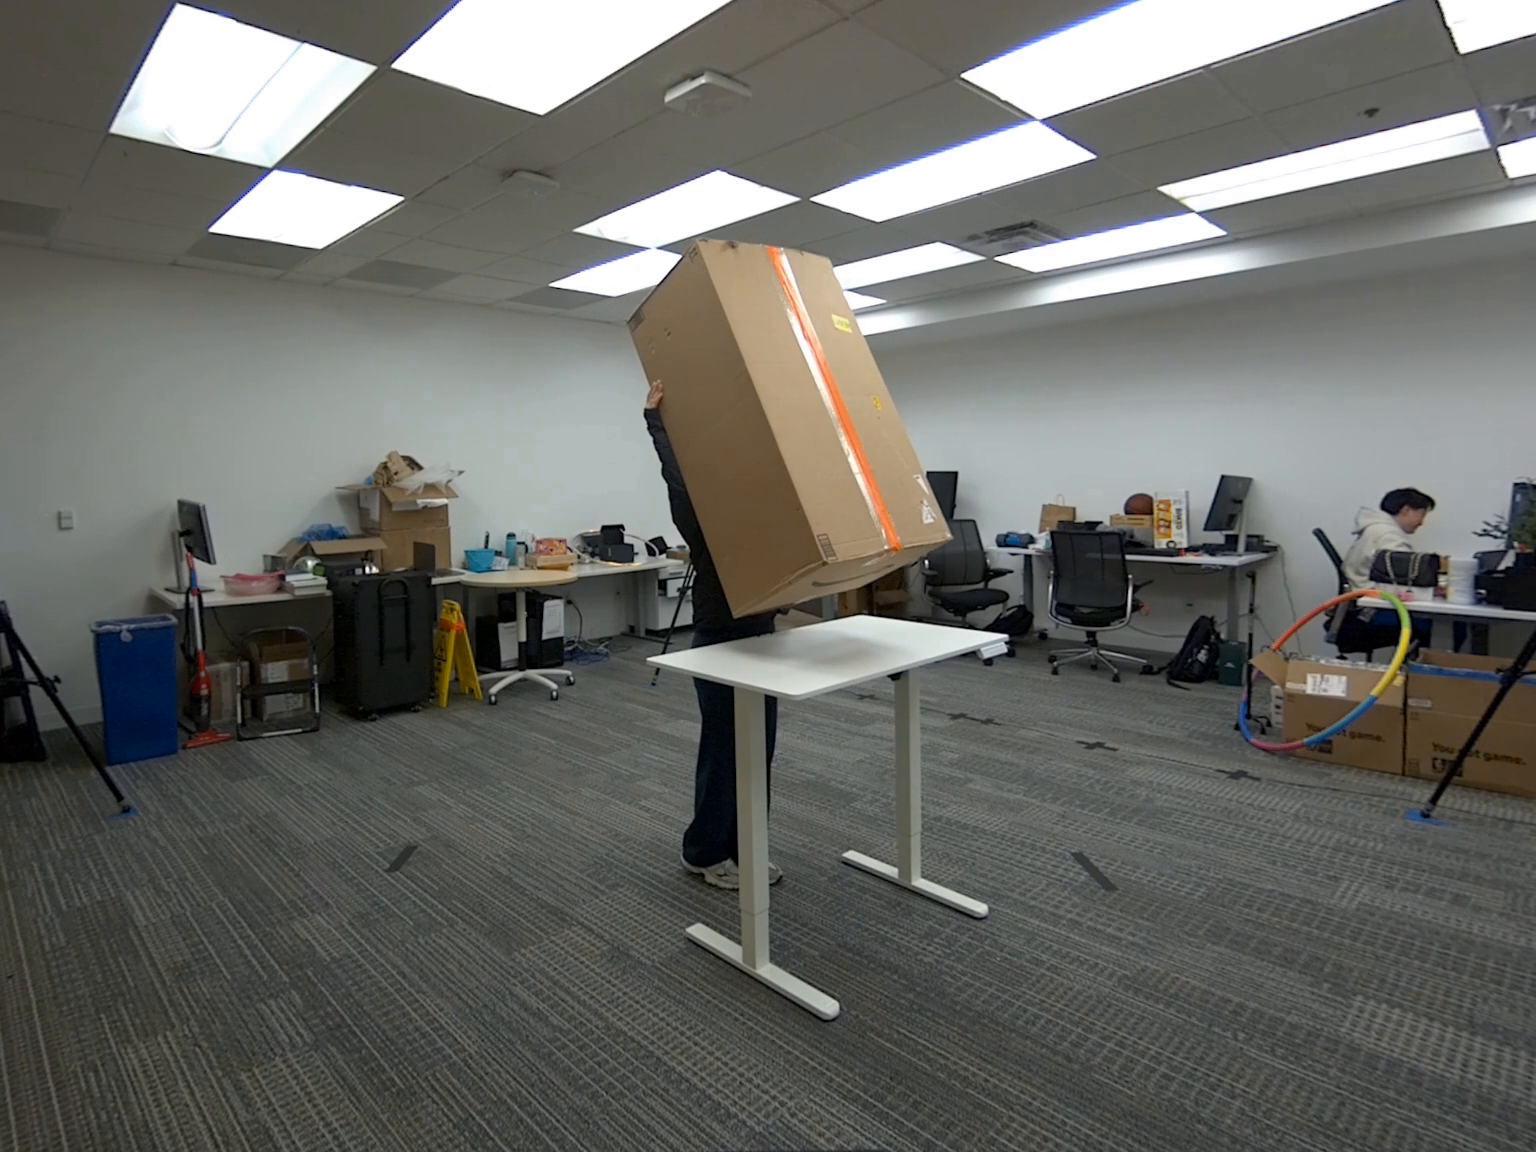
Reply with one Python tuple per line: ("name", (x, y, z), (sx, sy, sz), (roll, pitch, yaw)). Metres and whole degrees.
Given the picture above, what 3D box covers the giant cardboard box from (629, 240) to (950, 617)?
("giant cardboard box", (0.049, -0.459, 2.662), (0.570, 1.043, 0.451), (-9, -17, -41))
